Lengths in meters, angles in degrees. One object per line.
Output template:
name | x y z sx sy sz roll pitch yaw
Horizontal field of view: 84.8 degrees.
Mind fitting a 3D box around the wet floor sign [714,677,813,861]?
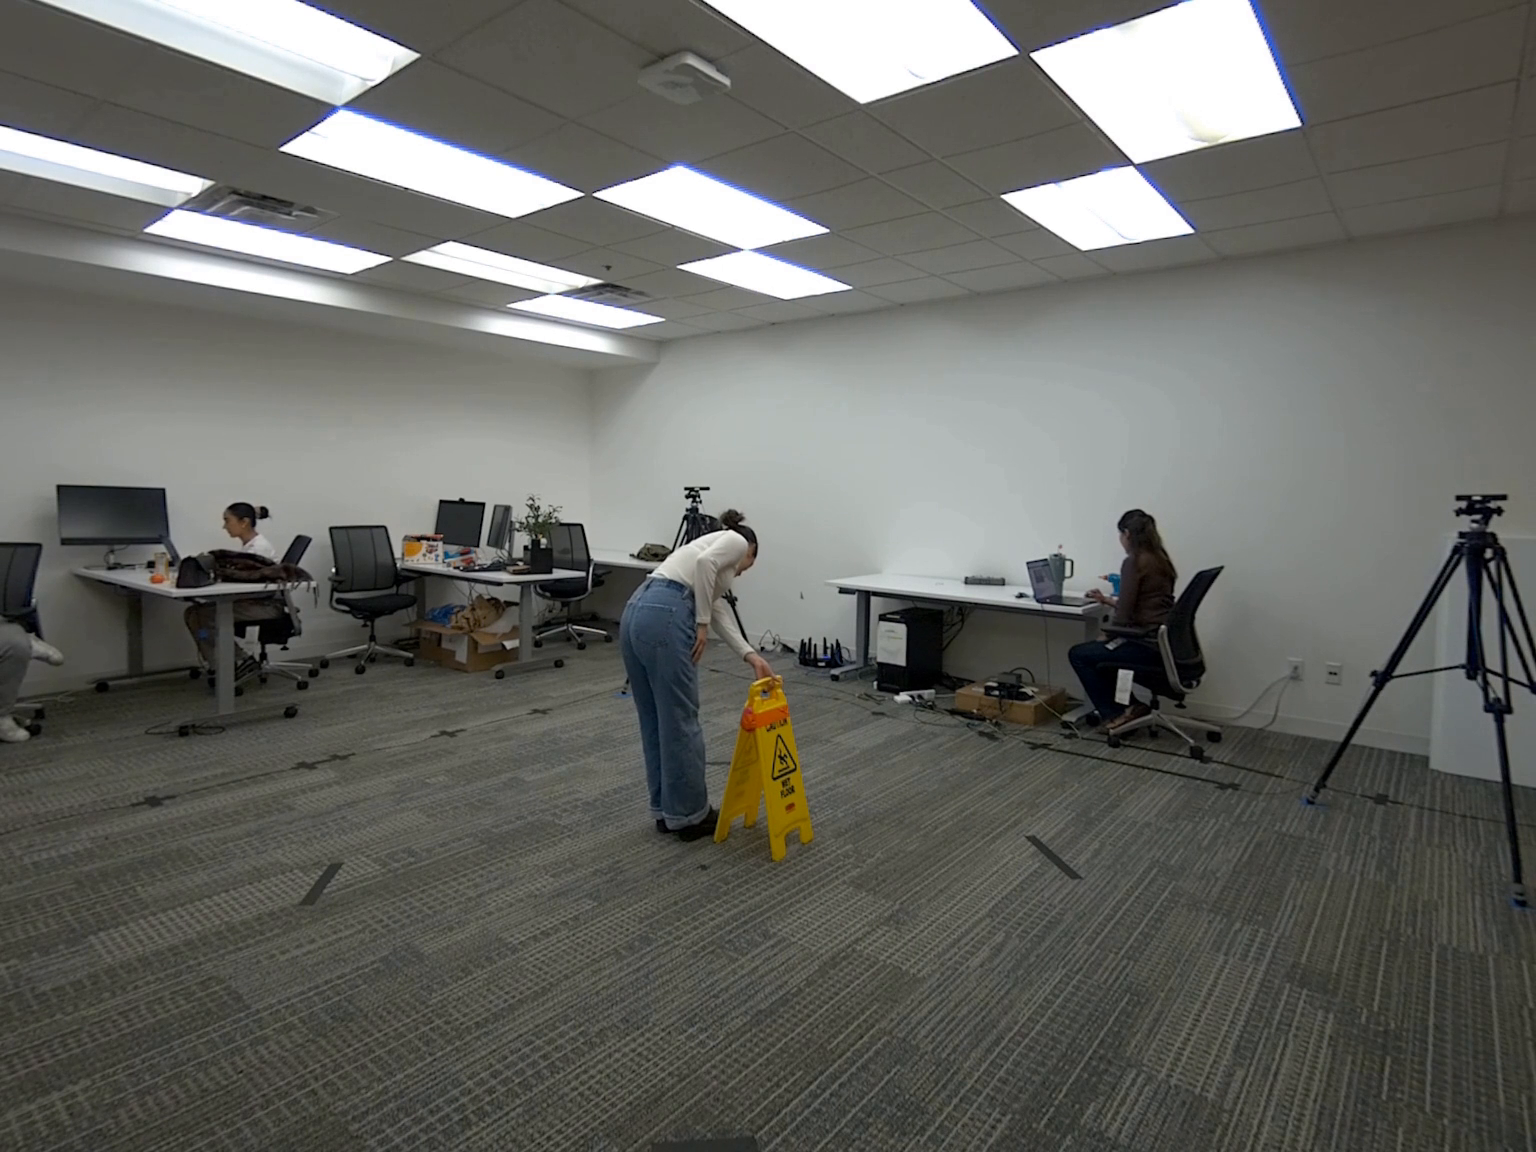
wet floor sign | -0.016 0.724 3.345 0.299 0.644 0.274 3 5 36
